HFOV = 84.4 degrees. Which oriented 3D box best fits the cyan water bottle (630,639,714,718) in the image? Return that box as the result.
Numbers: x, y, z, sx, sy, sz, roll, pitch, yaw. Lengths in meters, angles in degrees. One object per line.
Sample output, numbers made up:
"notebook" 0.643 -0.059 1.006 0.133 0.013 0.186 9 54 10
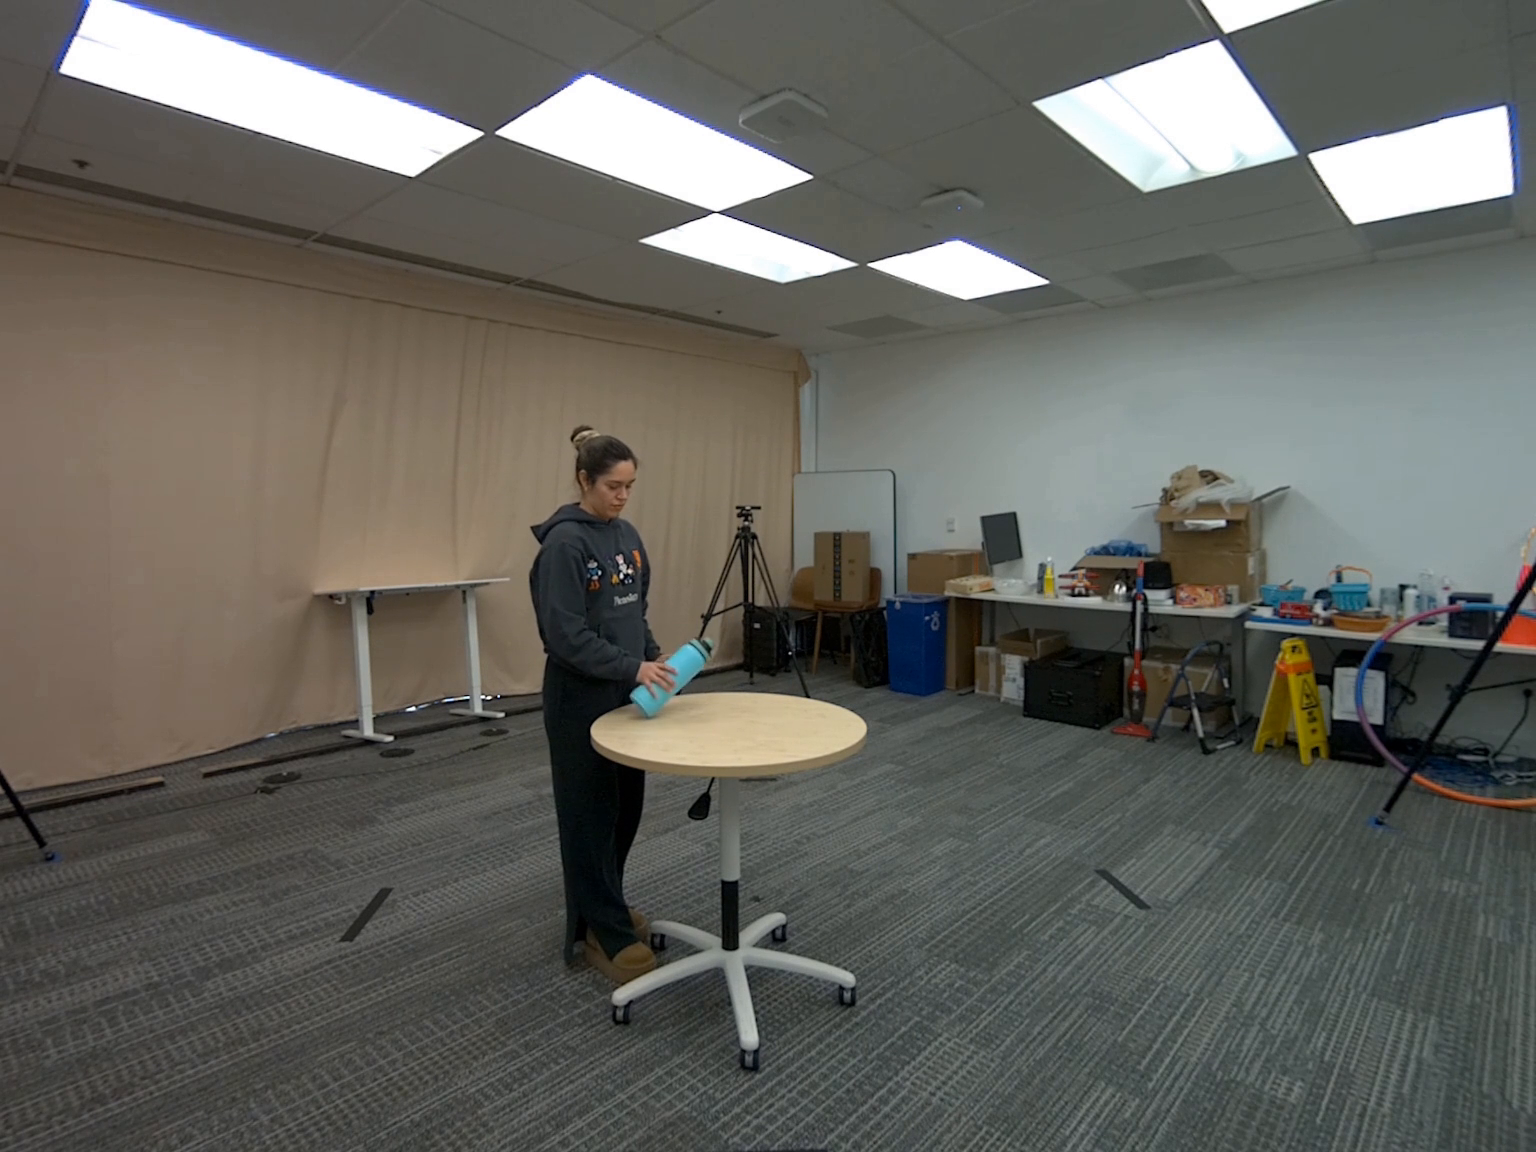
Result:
"cyan water bottle" -0.272 0.293 2.461 0.282 0.090 0.095 -44 20 -16
